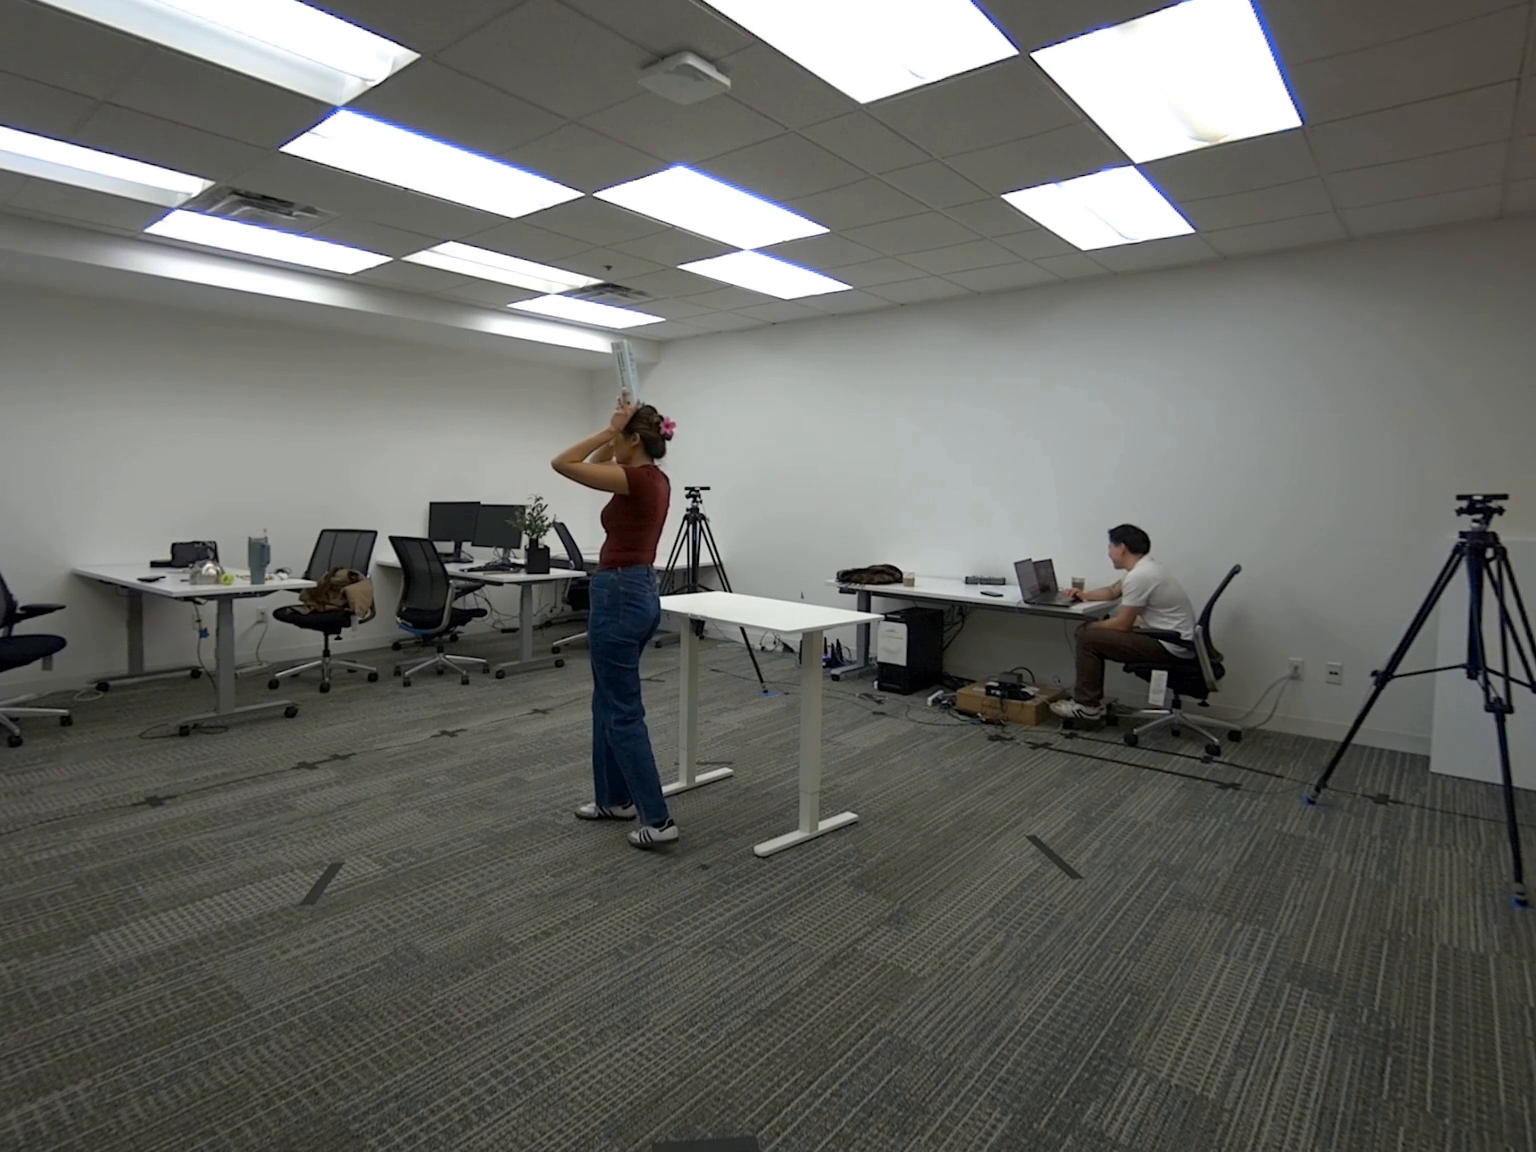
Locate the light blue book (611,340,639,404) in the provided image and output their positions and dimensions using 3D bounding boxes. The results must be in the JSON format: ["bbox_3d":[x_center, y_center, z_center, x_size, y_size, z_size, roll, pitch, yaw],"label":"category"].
[{"bbox_3d":[-0.568,-0.791,3.359,0.059,0.259,0.193,-8,9,0],"label":"light blue book"}]
